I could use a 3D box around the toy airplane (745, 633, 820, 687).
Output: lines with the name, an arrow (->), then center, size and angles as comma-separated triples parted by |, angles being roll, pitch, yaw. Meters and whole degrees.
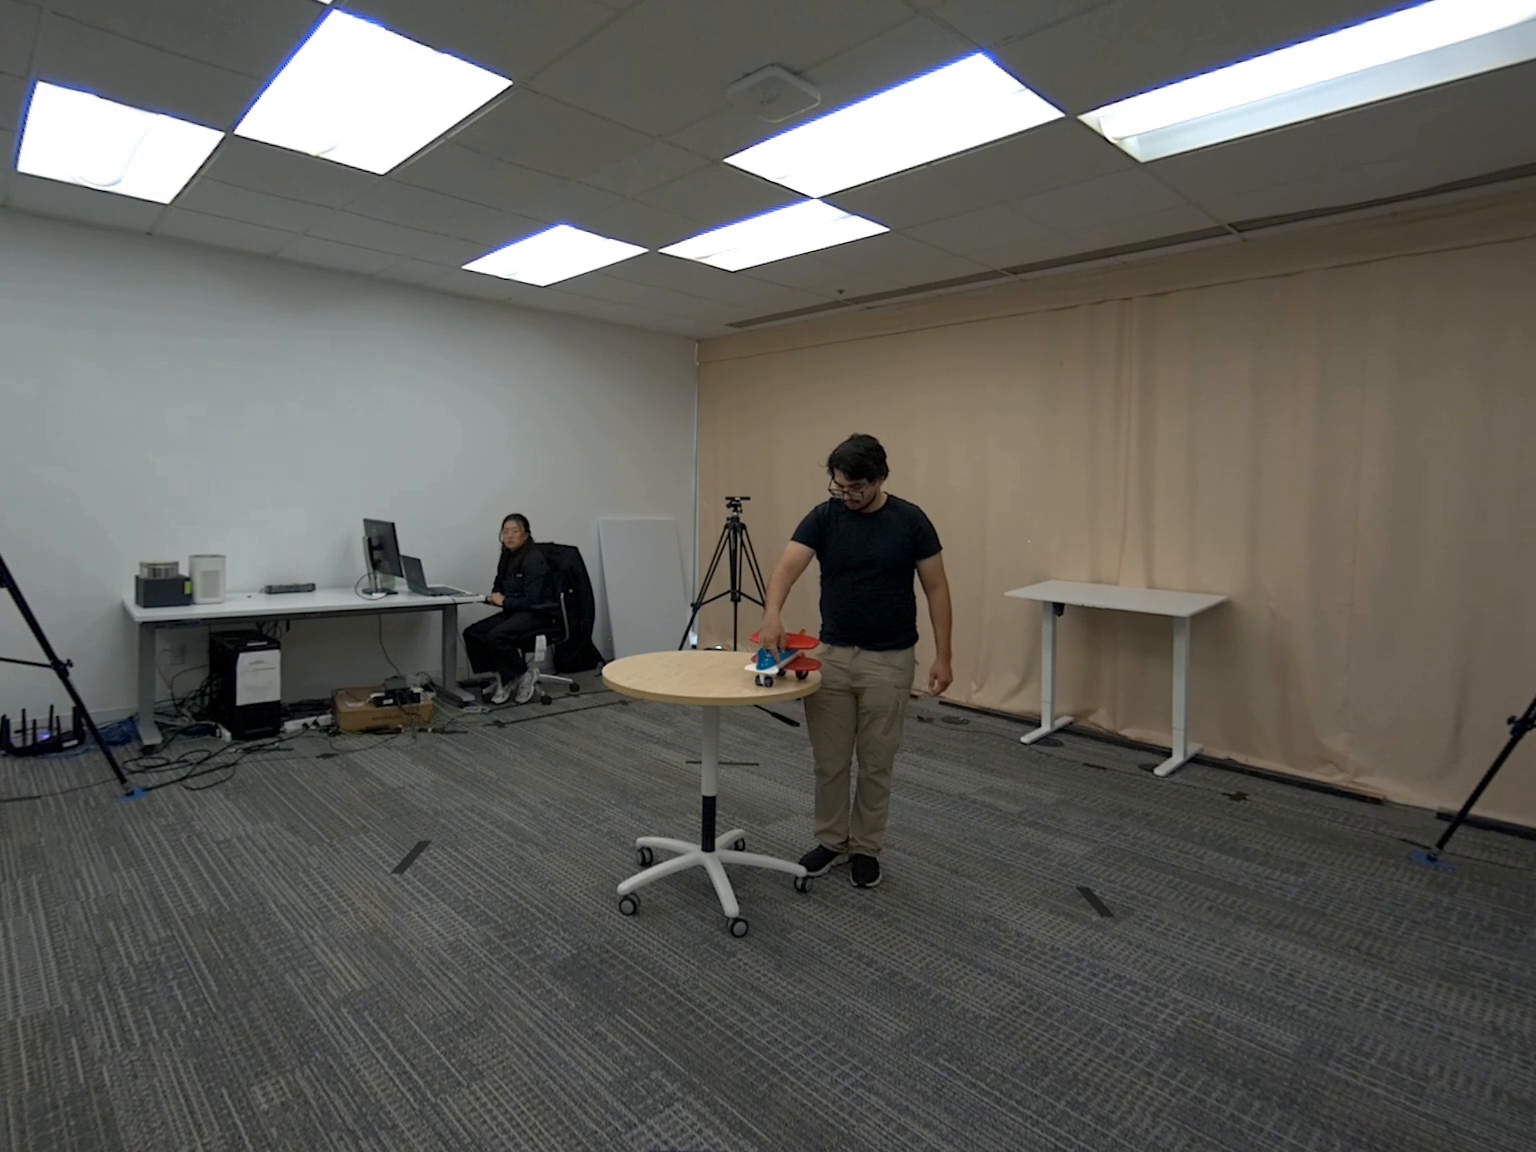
toy airplane -> 0.054, 0.280, 2.799 | 0.252, 0.156, 0.258 | 2, 4, 5
